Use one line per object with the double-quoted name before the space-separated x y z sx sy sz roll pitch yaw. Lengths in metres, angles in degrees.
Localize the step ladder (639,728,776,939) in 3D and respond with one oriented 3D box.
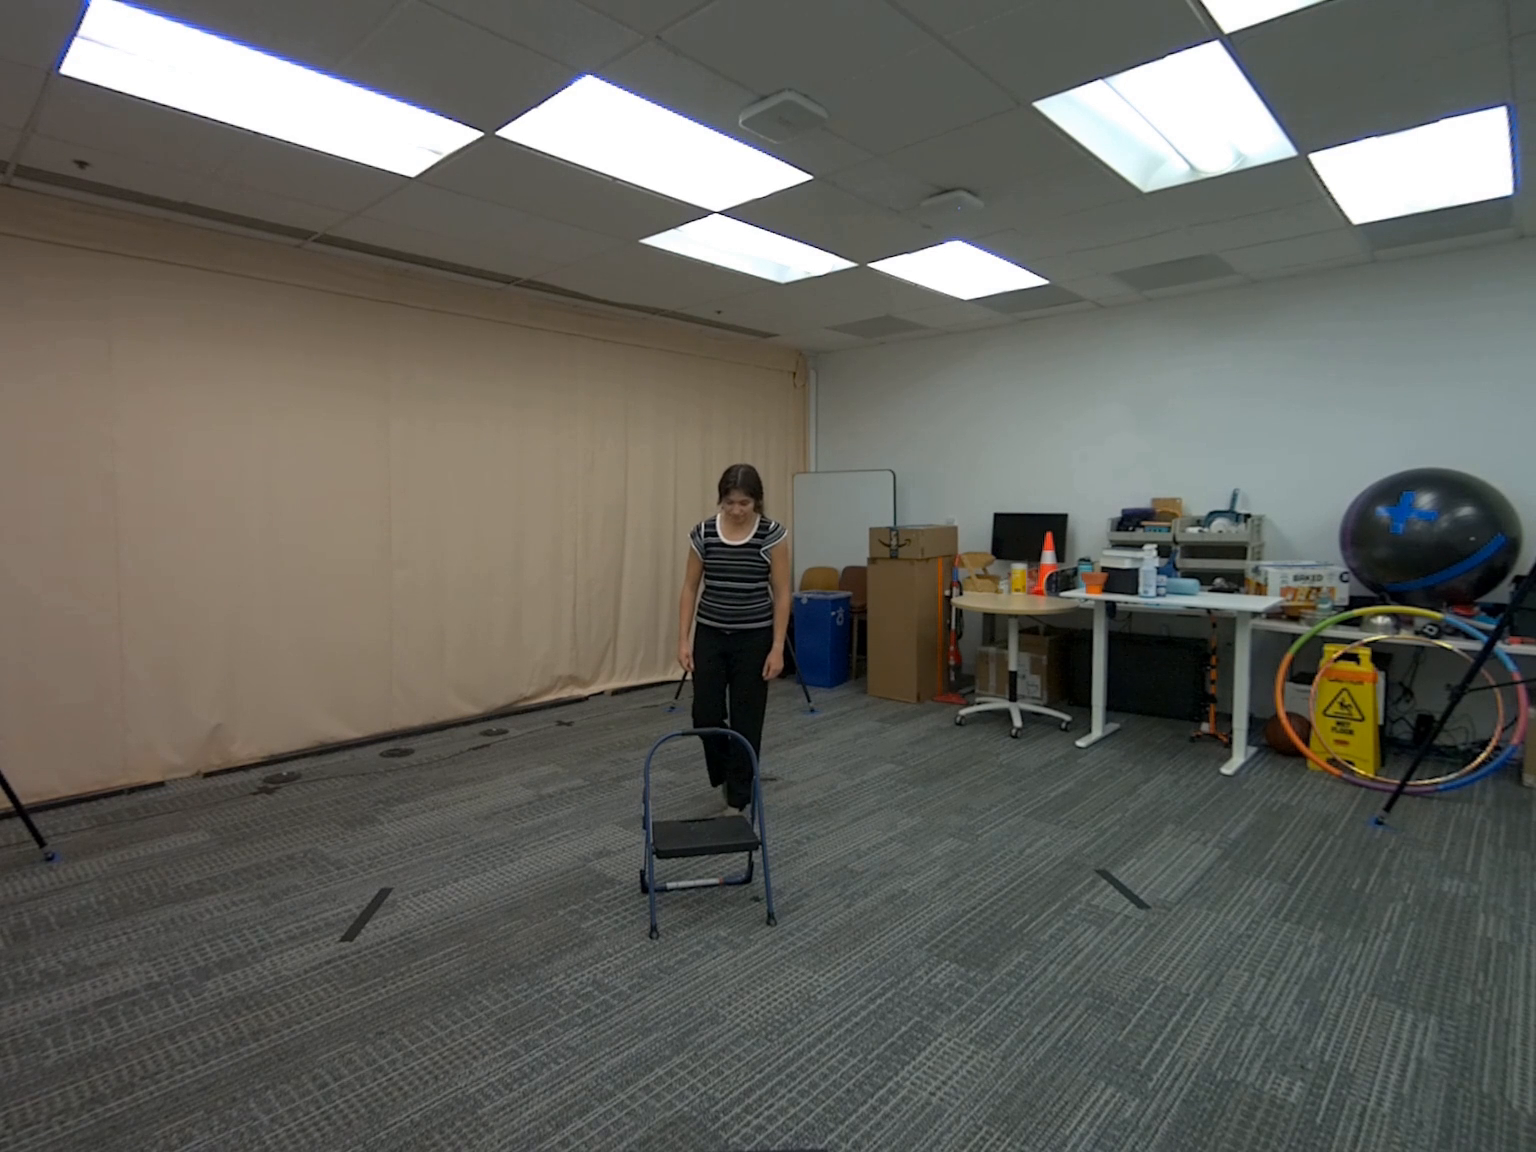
"step ladder" -0.219 0.846 2.914 0.425 0.605 0.355 -1 3 -14
